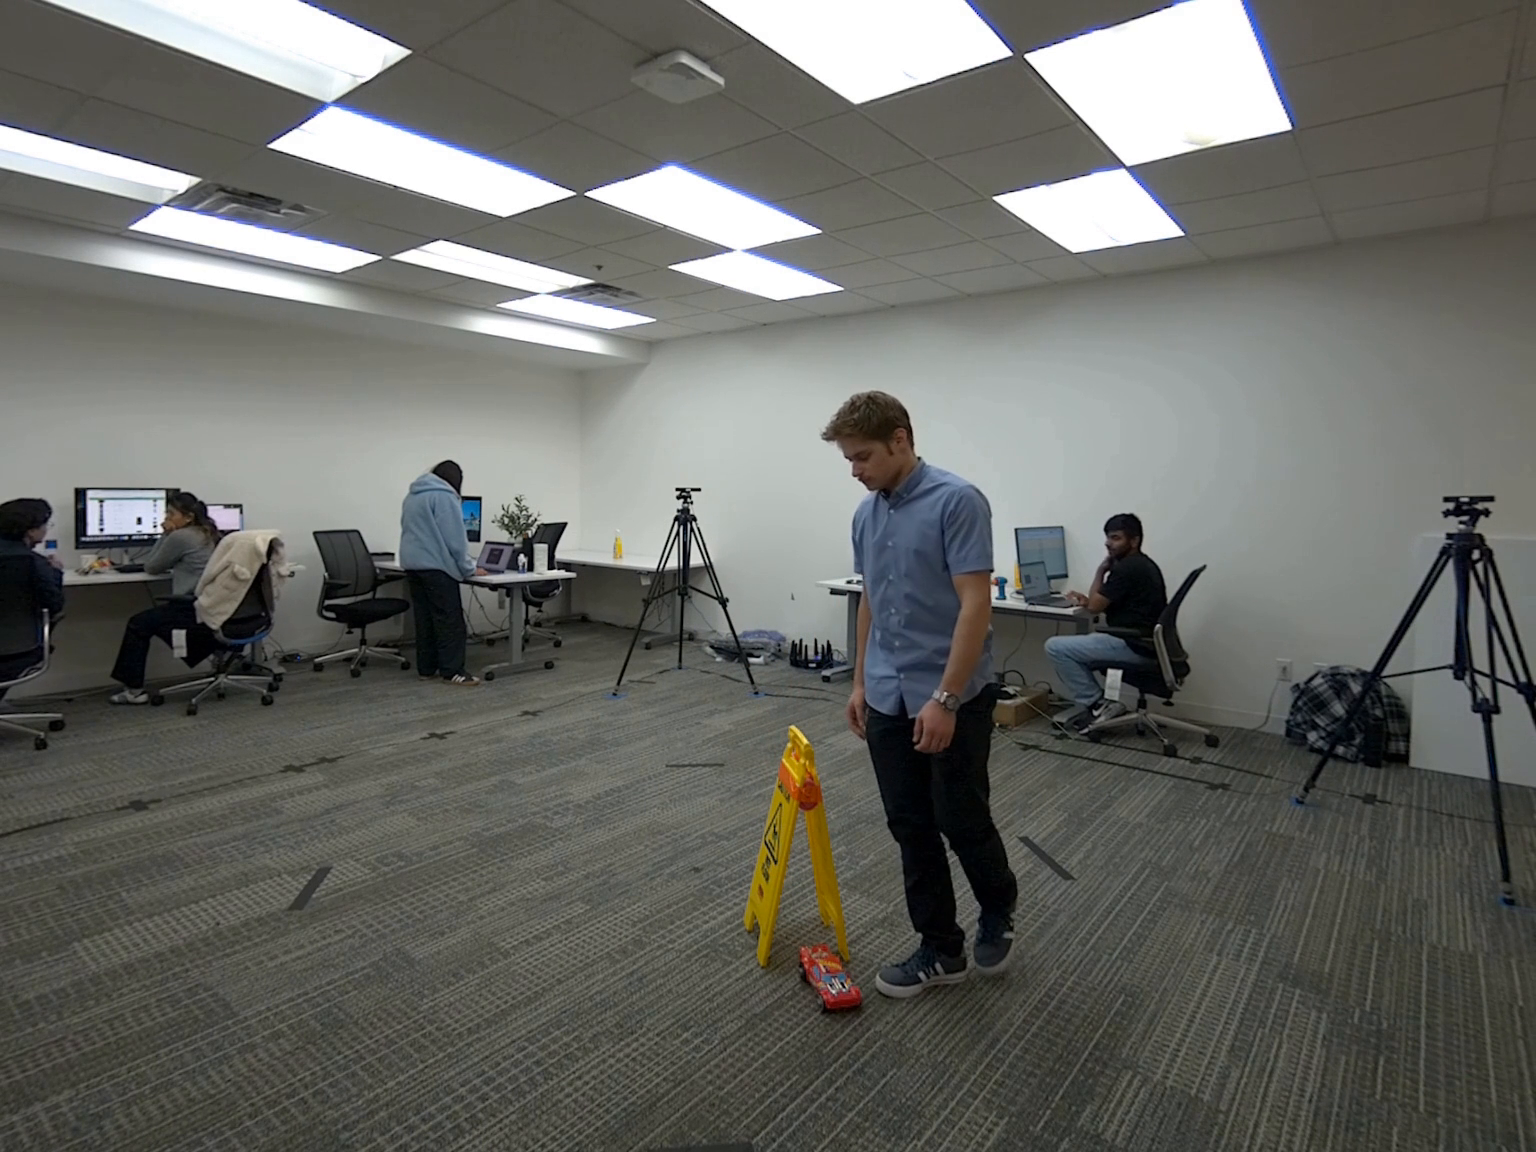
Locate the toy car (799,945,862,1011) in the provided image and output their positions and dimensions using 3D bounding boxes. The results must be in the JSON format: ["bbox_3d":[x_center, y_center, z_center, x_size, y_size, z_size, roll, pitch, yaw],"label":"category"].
[{"bbox_3d":[0.158,1.120,2.372,0.128,0.082,0.262,-3,17,-14],"label":"toy car"}]
